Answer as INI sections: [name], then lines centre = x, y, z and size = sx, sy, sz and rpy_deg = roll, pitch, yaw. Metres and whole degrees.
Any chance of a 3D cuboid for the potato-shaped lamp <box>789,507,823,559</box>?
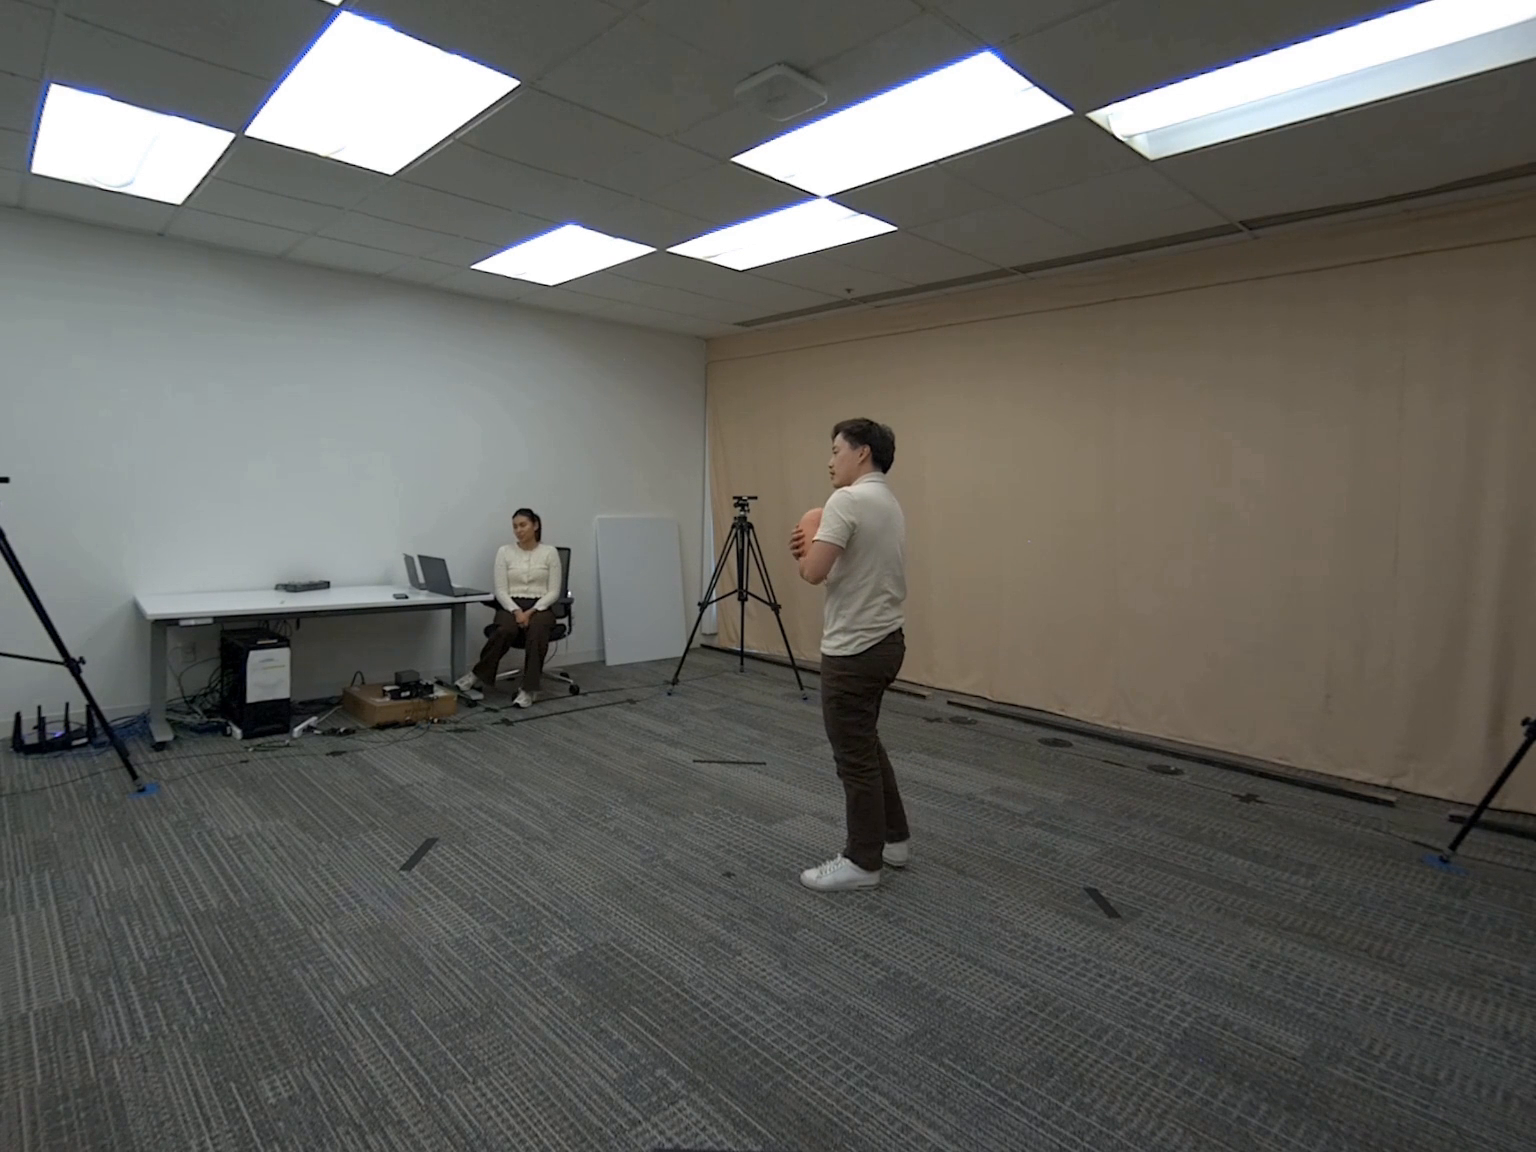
[potato-shaped lamp]
centre = 0.201, -0.156, 3.135
size = 0.175, 0.198, 0.161
rpy_deg = 5, -1, 25
